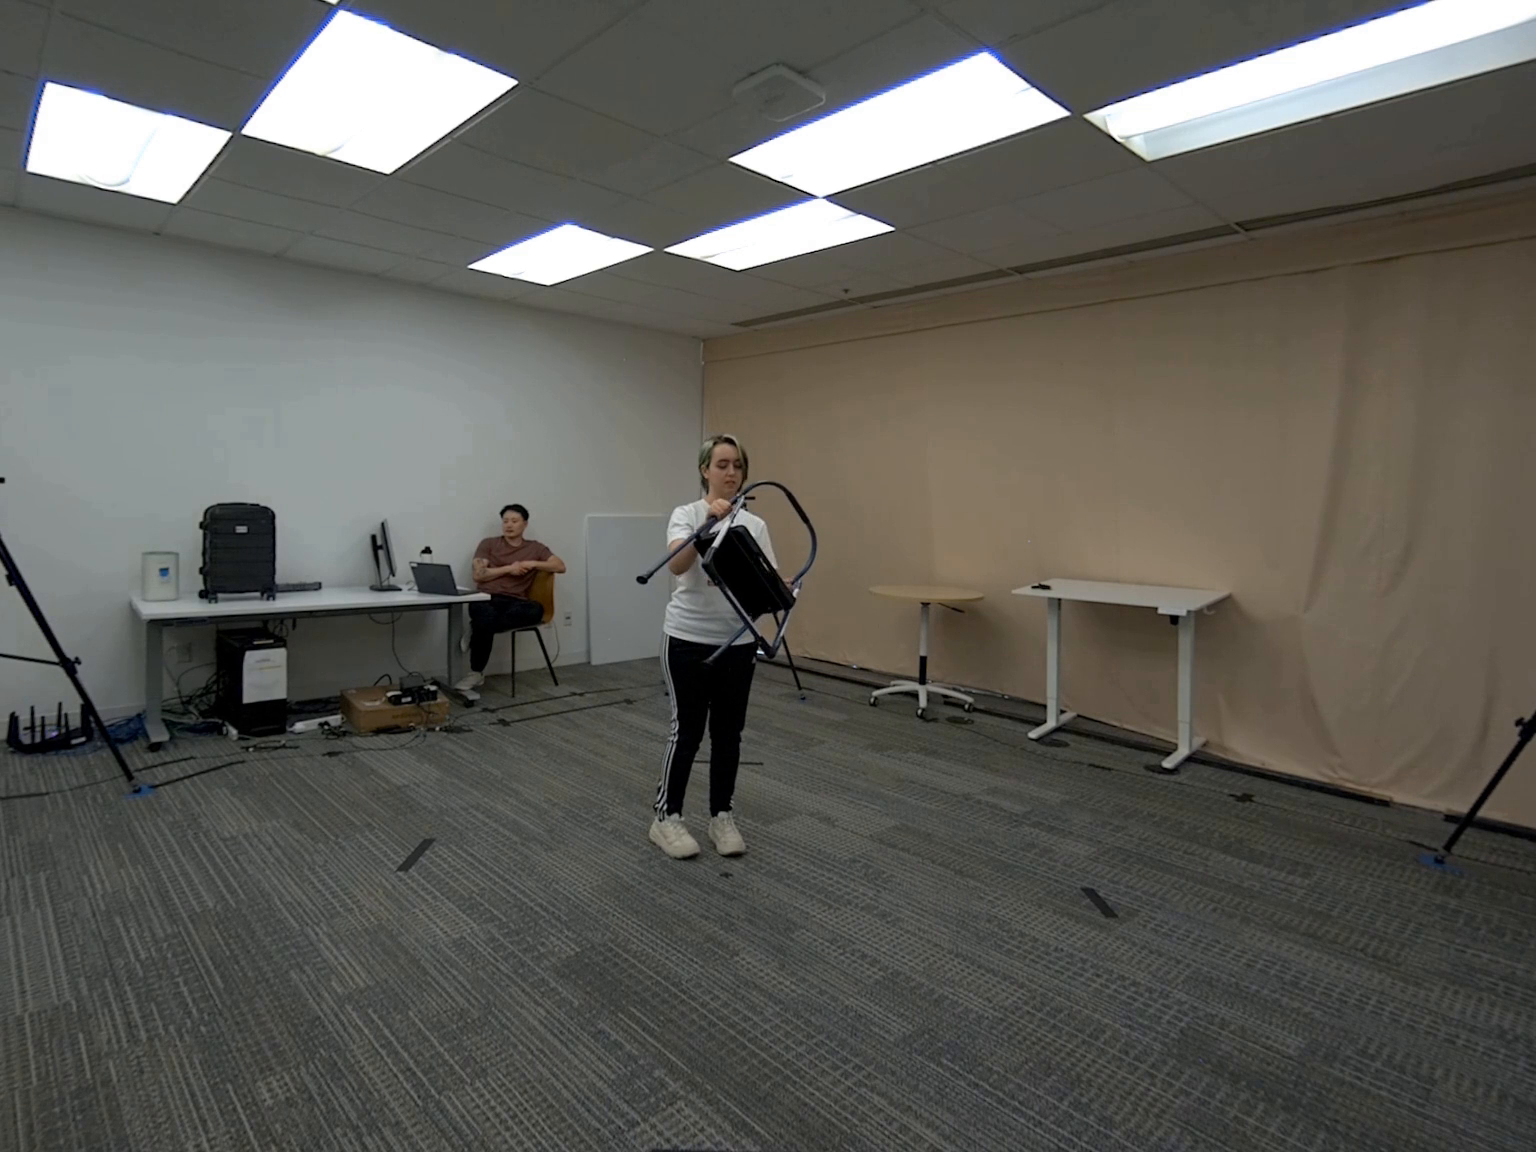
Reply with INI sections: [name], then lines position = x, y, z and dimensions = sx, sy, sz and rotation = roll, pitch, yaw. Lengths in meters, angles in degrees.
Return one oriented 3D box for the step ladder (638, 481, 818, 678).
[step ladder]
position = -0.087, -0.047, 2.987
dimensions = 0.356, 0.422, 0.607
rotation = -12, 31, 43
